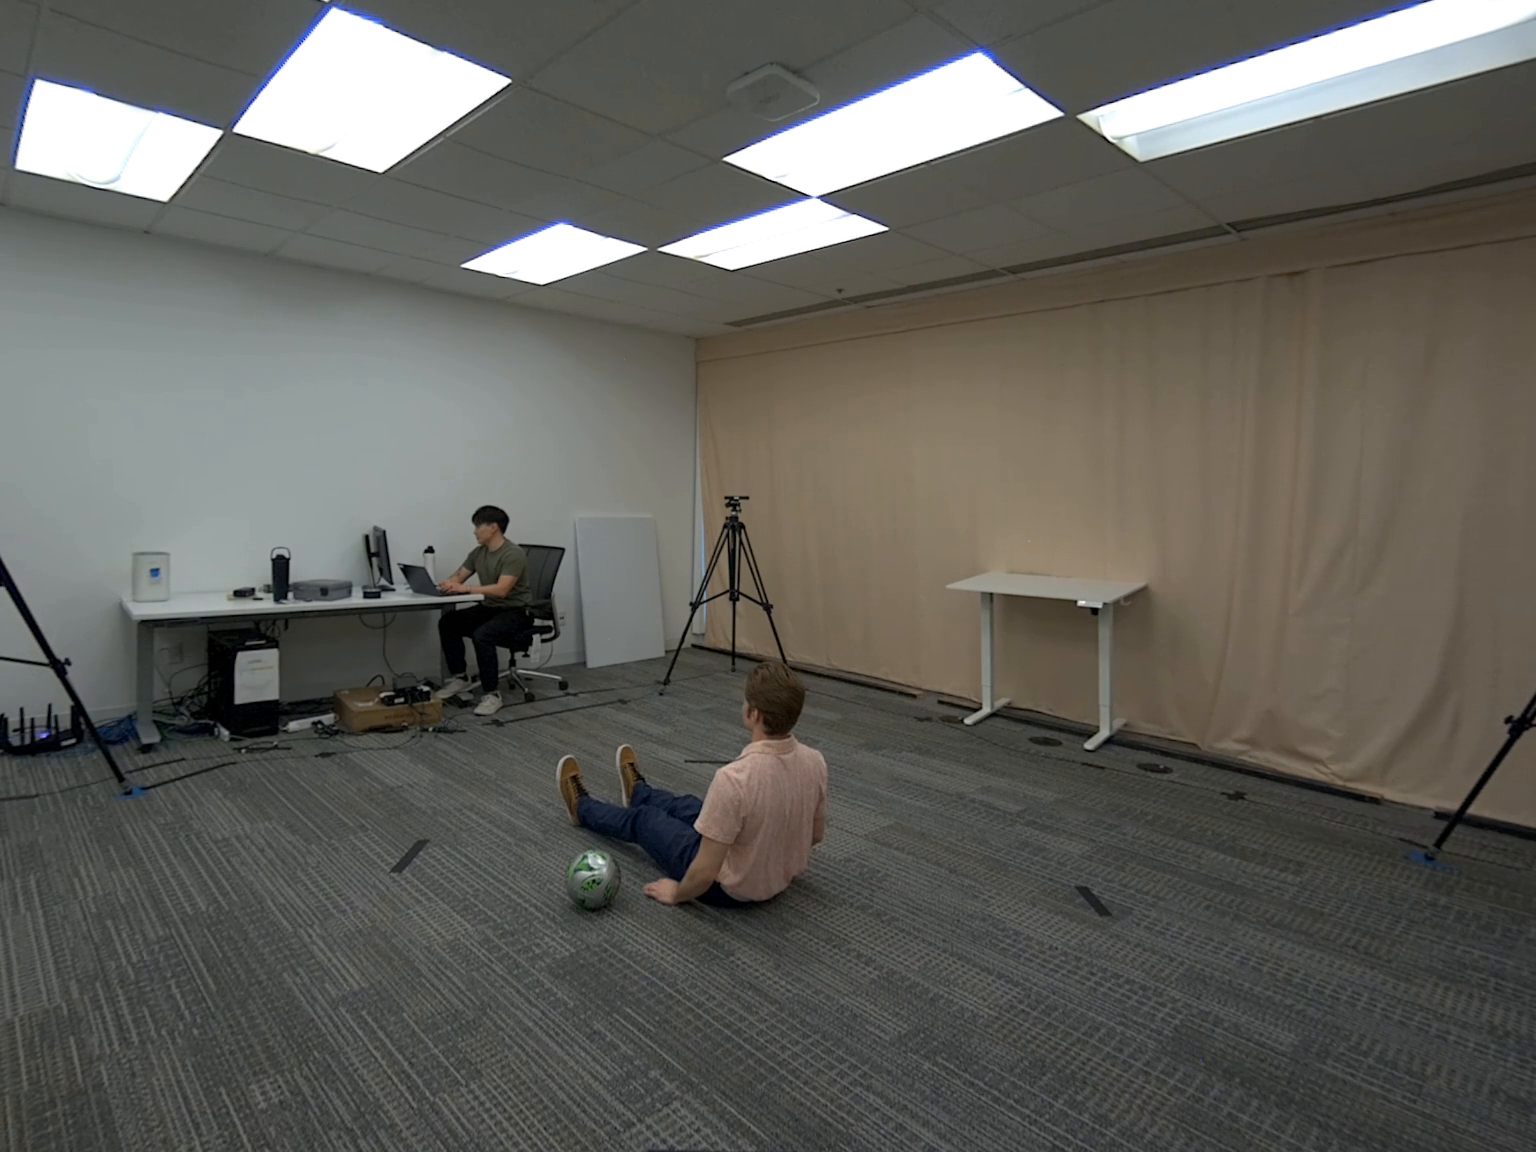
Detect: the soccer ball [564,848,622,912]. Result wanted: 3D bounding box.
[{"bbox_3d":[-0.583,1.016,2.847,0.187,0.187,0.188,1,4,-1],"label":"soccer ball"}]
